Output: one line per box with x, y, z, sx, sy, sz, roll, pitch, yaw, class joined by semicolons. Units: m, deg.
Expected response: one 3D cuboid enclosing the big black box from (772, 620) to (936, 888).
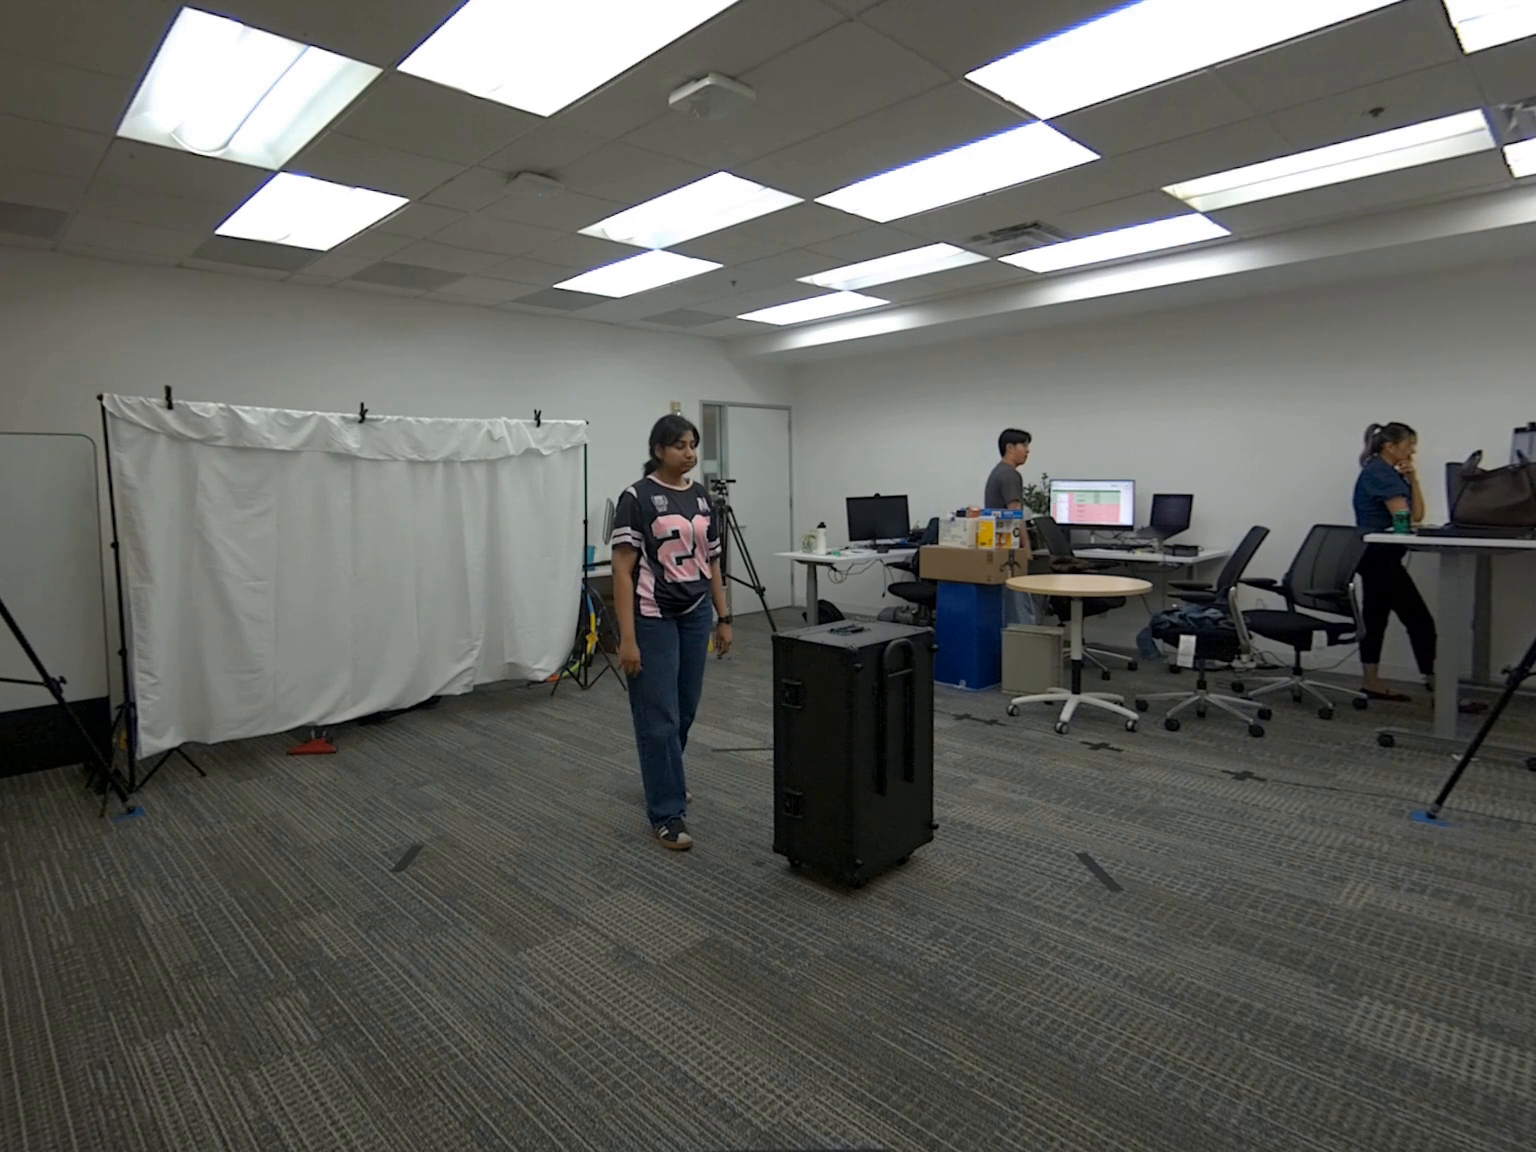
0.323;0.626;3.057;0.397;0.865;0.509;4;6;45;big black box
